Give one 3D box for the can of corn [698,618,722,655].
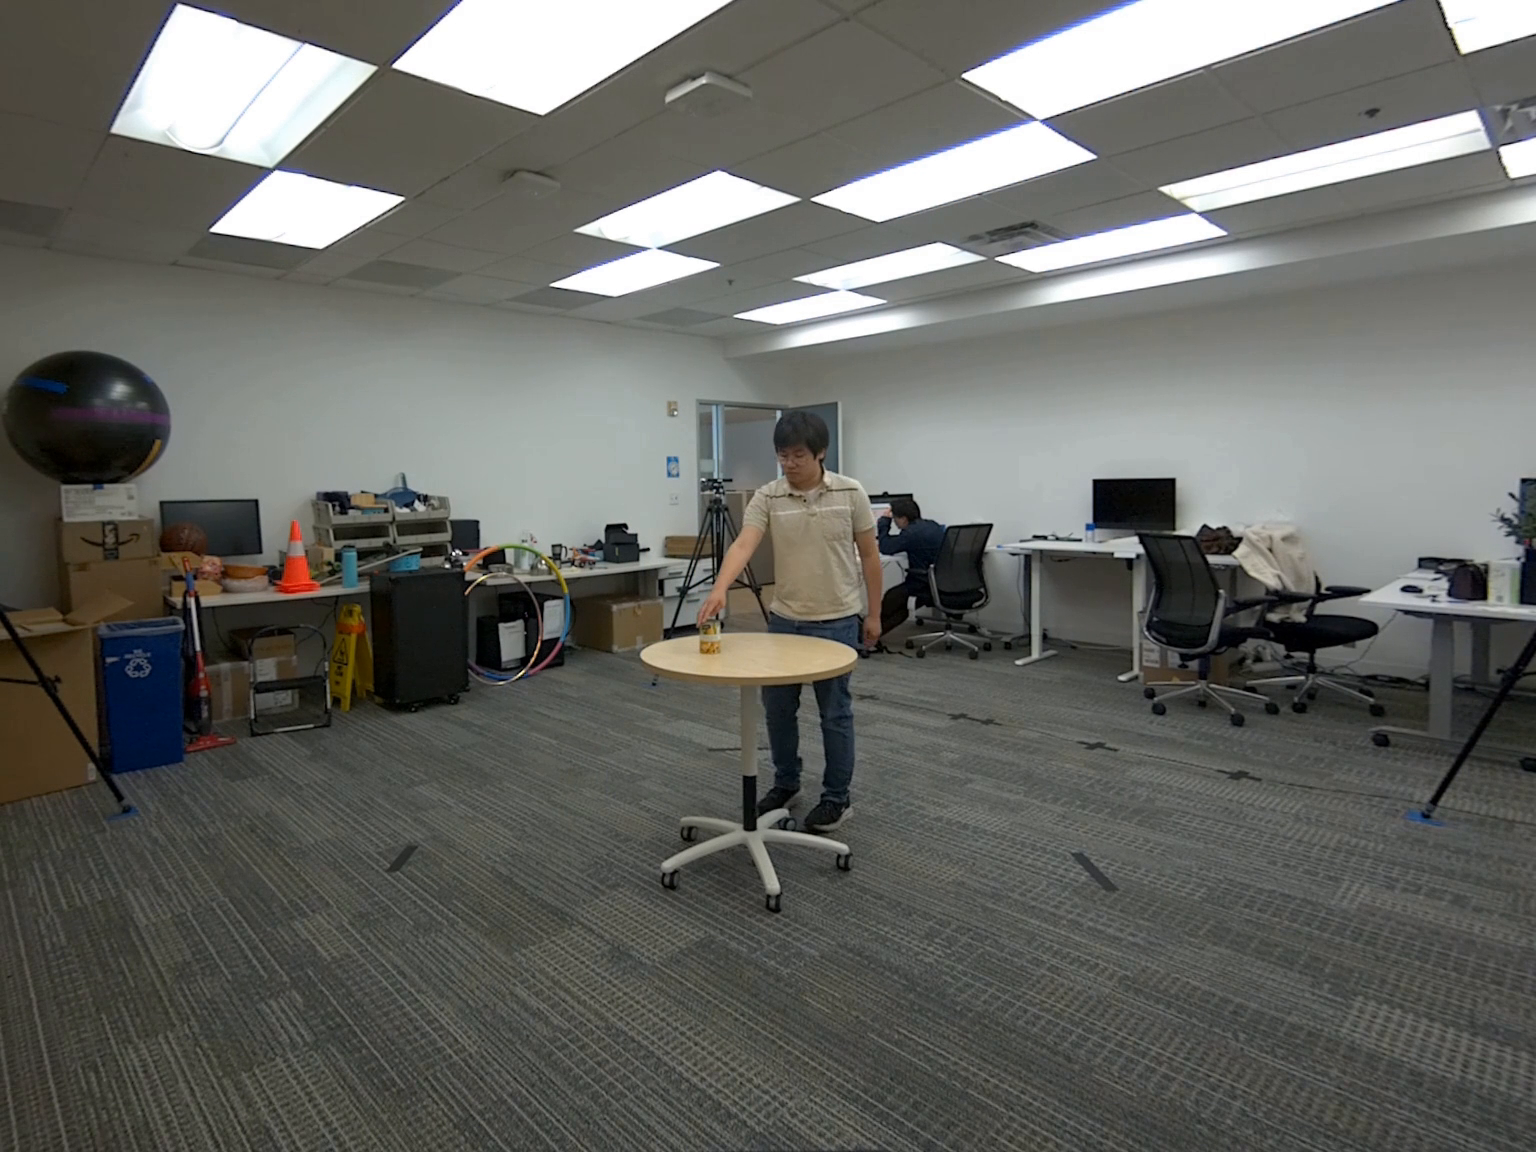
[{"bbox_3d":[-0.199,0.216,3.031,0.074,0.111,0.074,-1,1,-2],"label":"can of corn"}]
